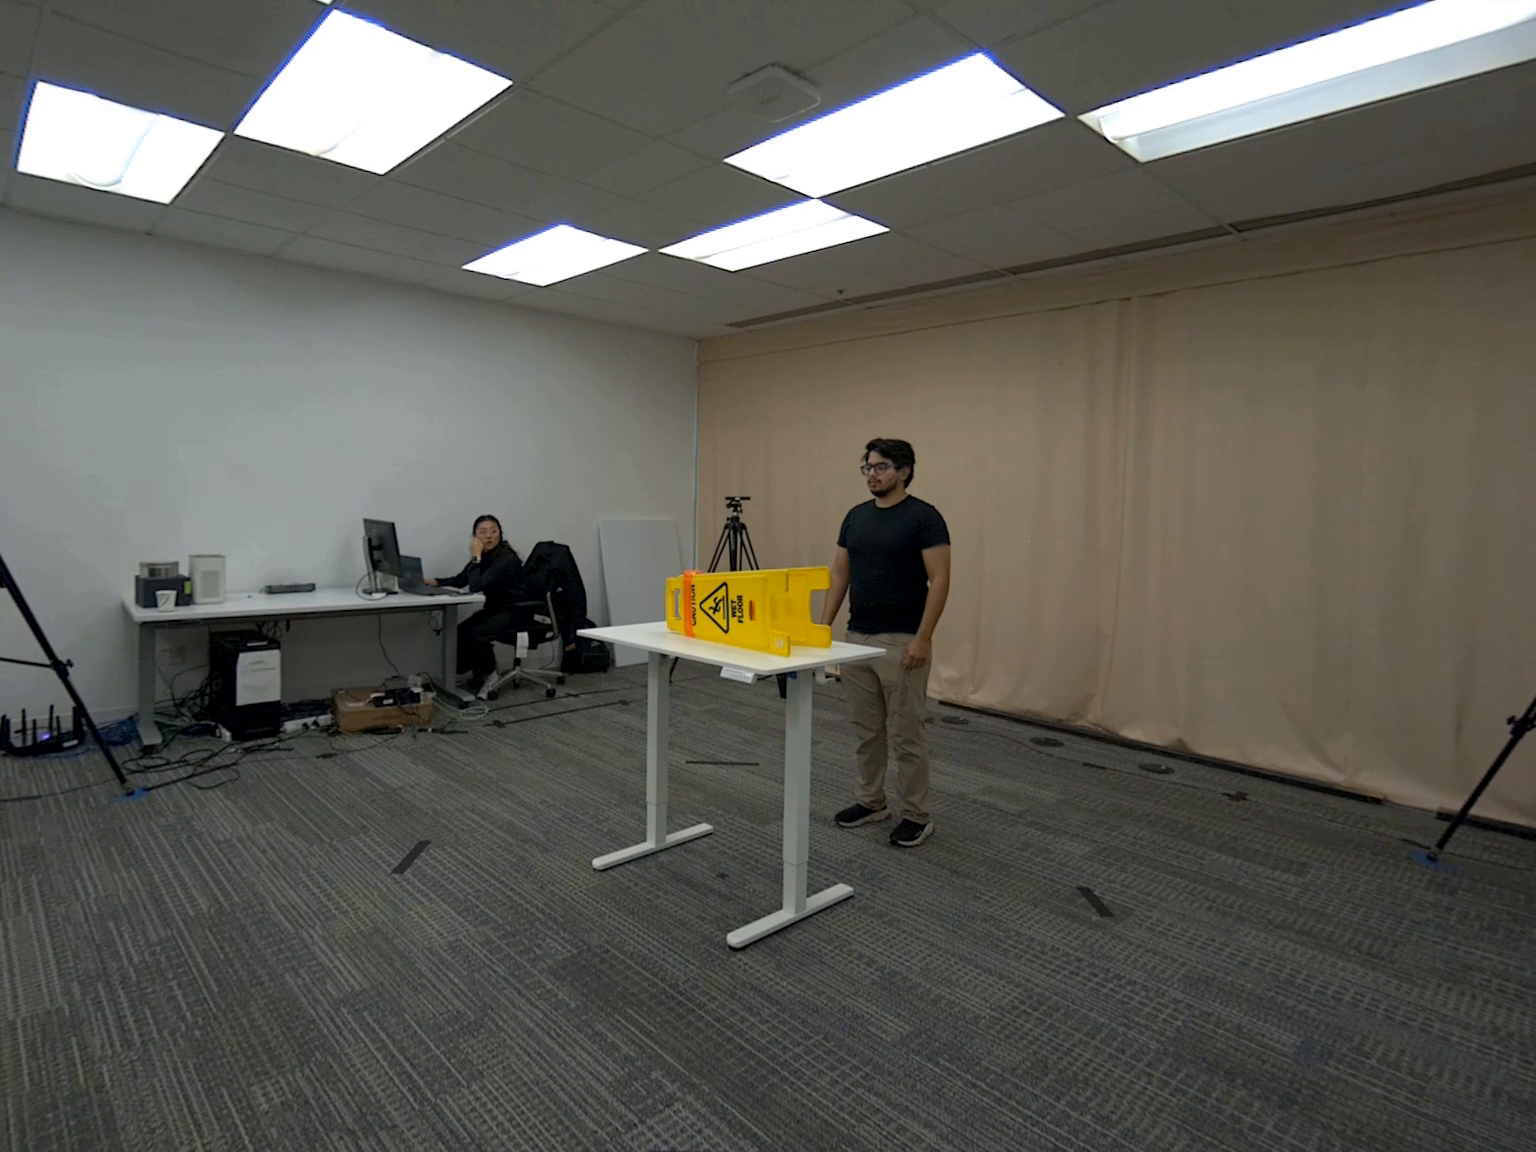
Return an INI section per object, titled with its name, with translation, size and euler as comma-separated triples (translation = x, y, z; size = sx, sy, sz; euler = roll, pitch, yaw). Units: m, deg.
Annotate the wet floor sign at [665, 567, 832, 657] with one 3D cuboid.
[wet floor sign]
translation = -0.127, 0.112, 2.978
size = 0.661, 0.282, 0.283
euler = 1, 2, 37
